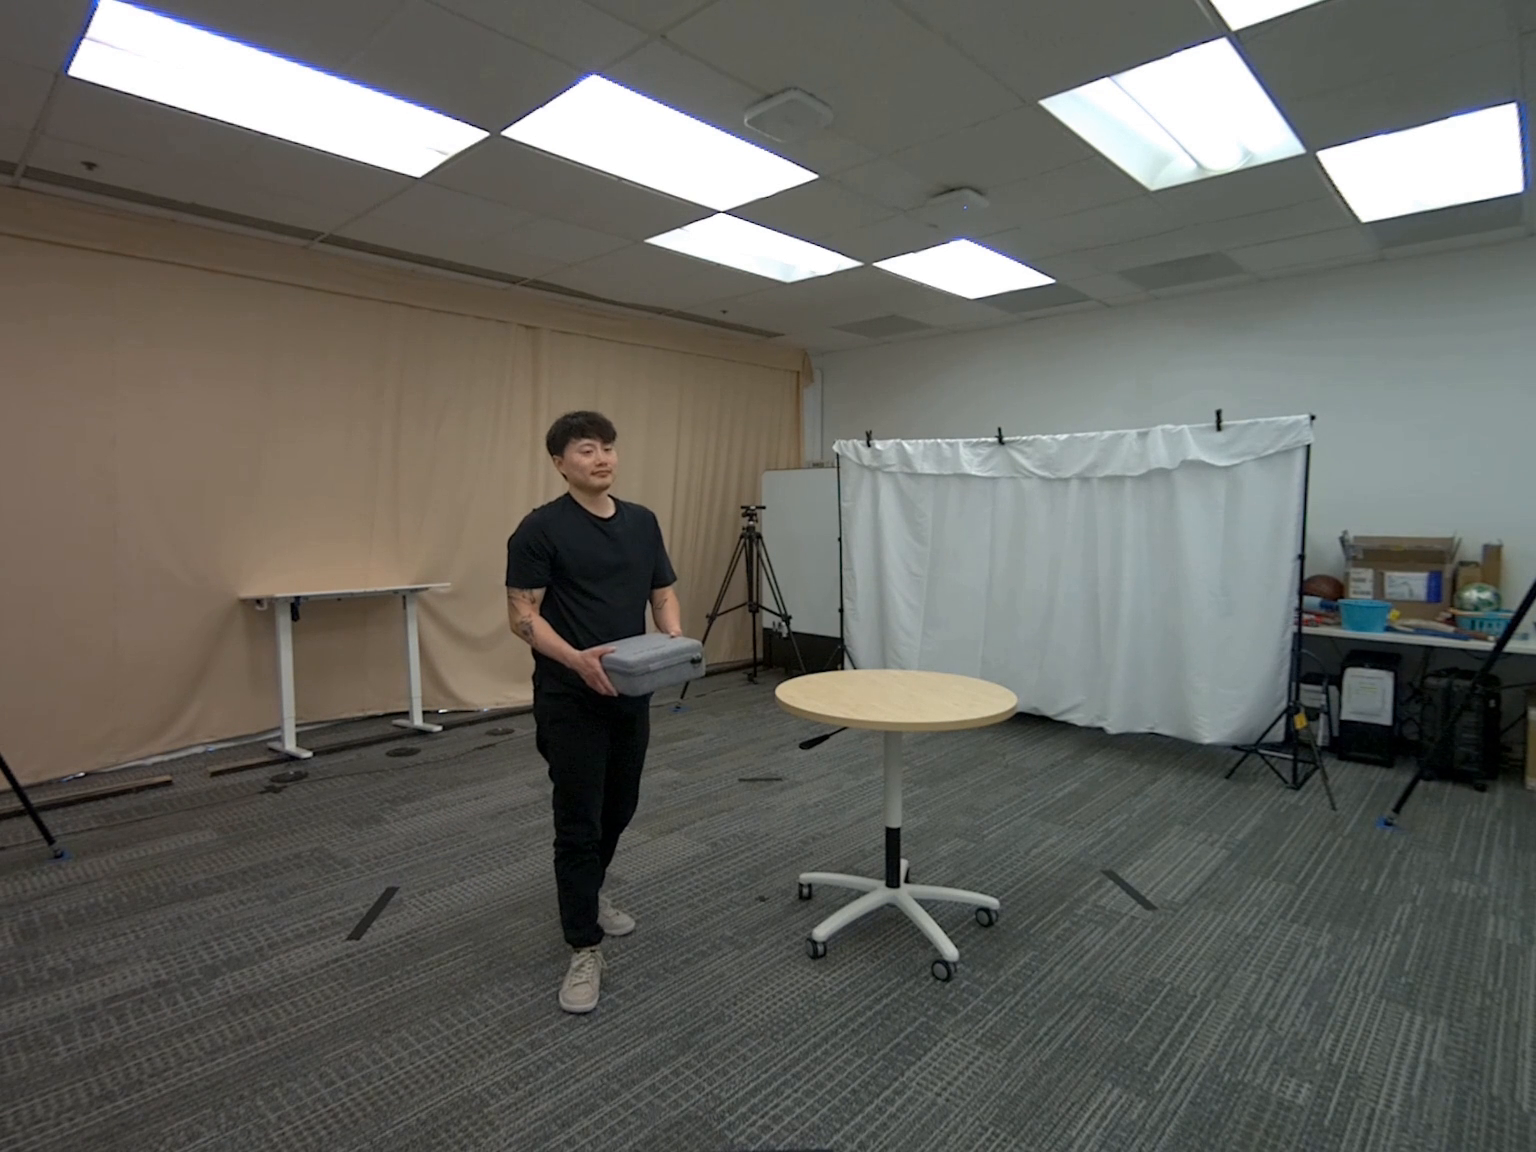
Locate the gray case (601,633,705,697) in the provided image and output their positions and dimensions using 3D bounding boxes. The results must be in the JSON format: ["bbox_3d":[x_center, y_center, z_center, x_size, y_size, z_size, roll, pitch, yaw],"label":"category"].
[{"bbox_3d":[-0.336,0.244,2.302,0.250,0.104,0.269,-13,10,-38],"label":"gray case"}]
